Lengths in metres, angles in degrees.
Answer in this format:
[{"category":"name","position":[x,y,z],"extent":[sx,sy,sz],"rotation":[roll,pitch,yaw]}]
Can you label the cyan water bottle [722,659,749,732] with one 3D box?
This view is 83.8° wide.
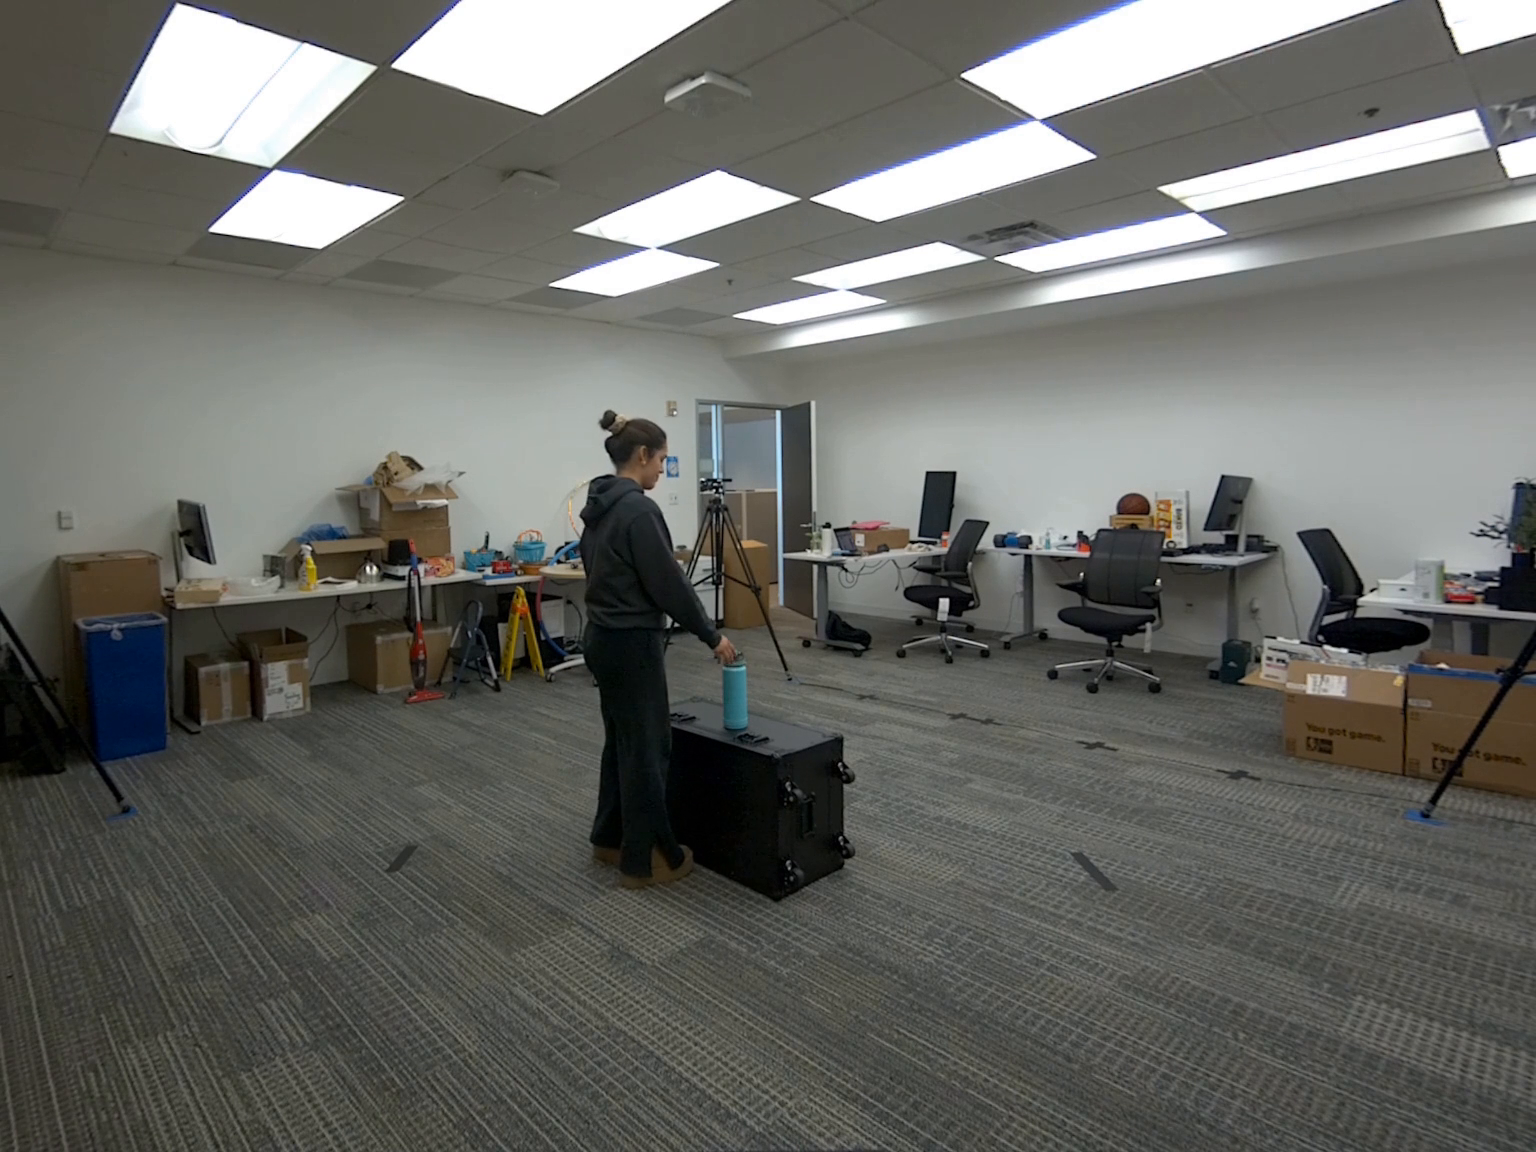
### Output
[{"category":"cyan water bottle","position":[-0.123,0.416,3.150],"extent":[0.092,0.283,0.092],"rotation":[-1,1,-2]}]
